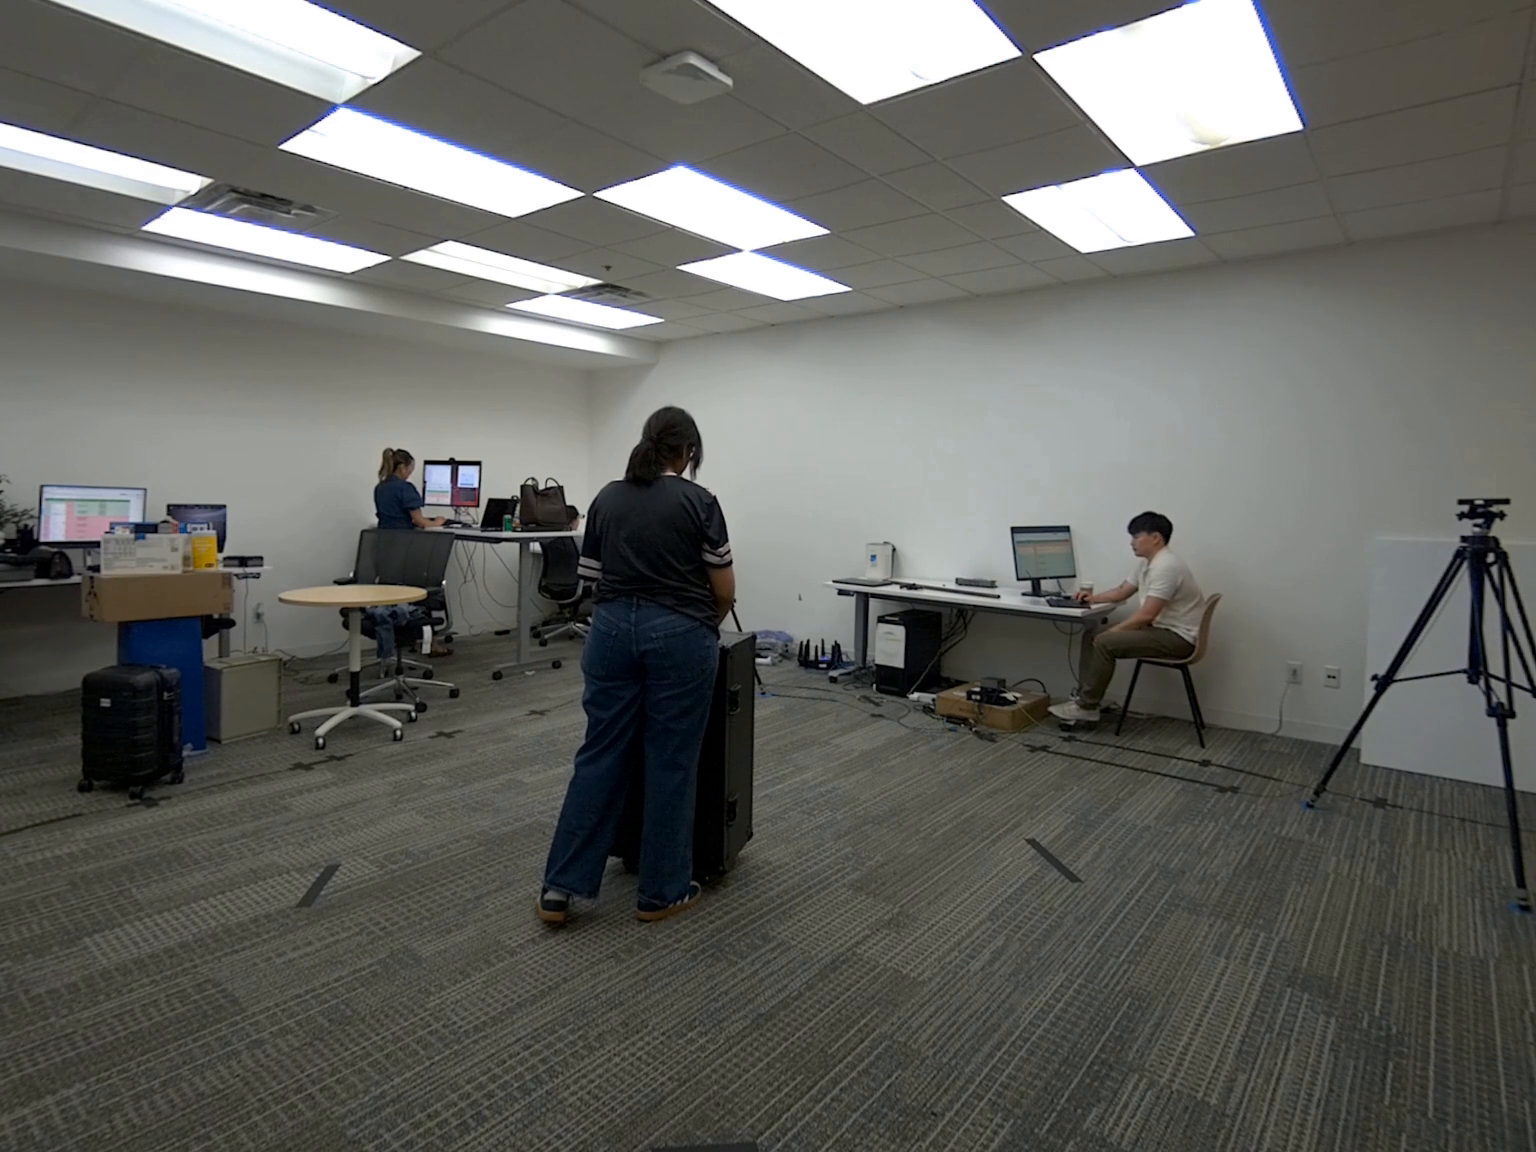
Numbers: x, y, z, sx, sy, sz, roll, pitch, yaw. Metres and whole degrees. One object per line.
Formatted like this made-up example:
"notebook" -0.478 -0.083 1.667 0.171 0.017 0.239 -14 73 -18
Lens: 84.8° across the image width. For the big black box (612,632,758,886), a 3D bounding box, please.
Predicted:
"big black box" -0.342 0.645 3.142 0.531 0.860 0.389 2 2 17
